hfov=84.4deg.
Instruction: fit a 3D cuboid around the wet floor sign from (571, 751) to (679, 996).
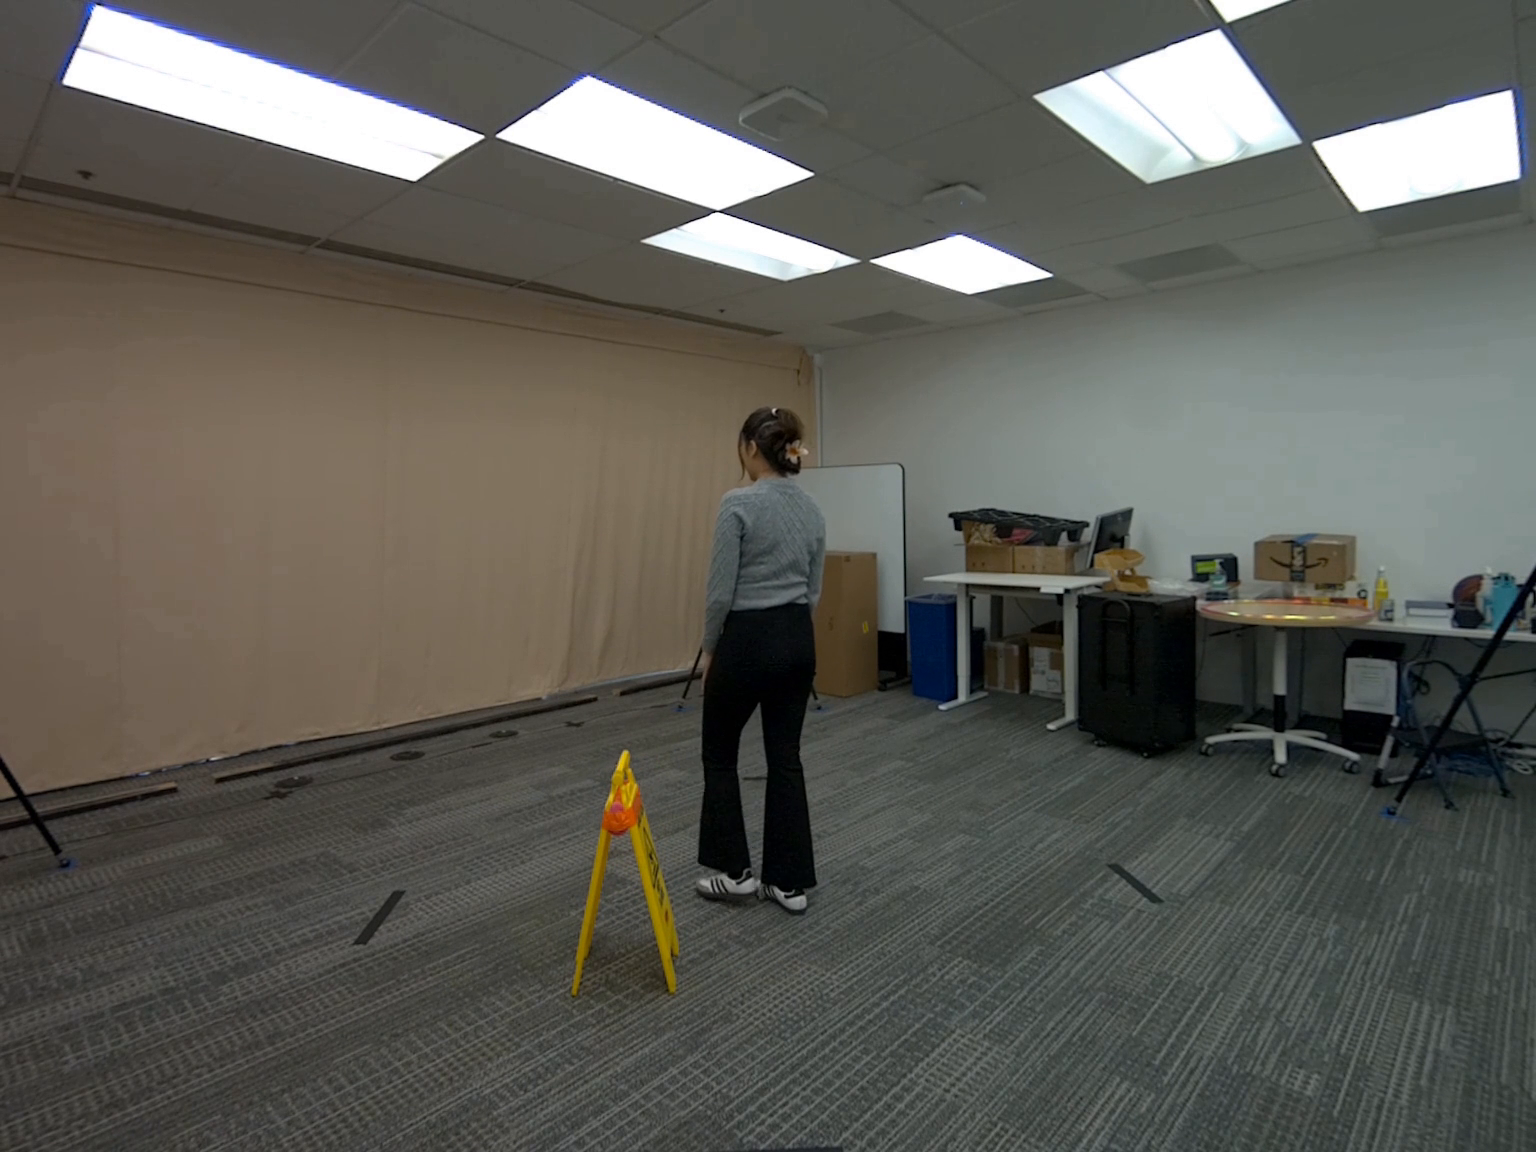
[{"bbox_3d":[-0.430,0.863,2.520,0.289,0.645,0.283,-2,2,-2],"label":"wet floor sign"}]
